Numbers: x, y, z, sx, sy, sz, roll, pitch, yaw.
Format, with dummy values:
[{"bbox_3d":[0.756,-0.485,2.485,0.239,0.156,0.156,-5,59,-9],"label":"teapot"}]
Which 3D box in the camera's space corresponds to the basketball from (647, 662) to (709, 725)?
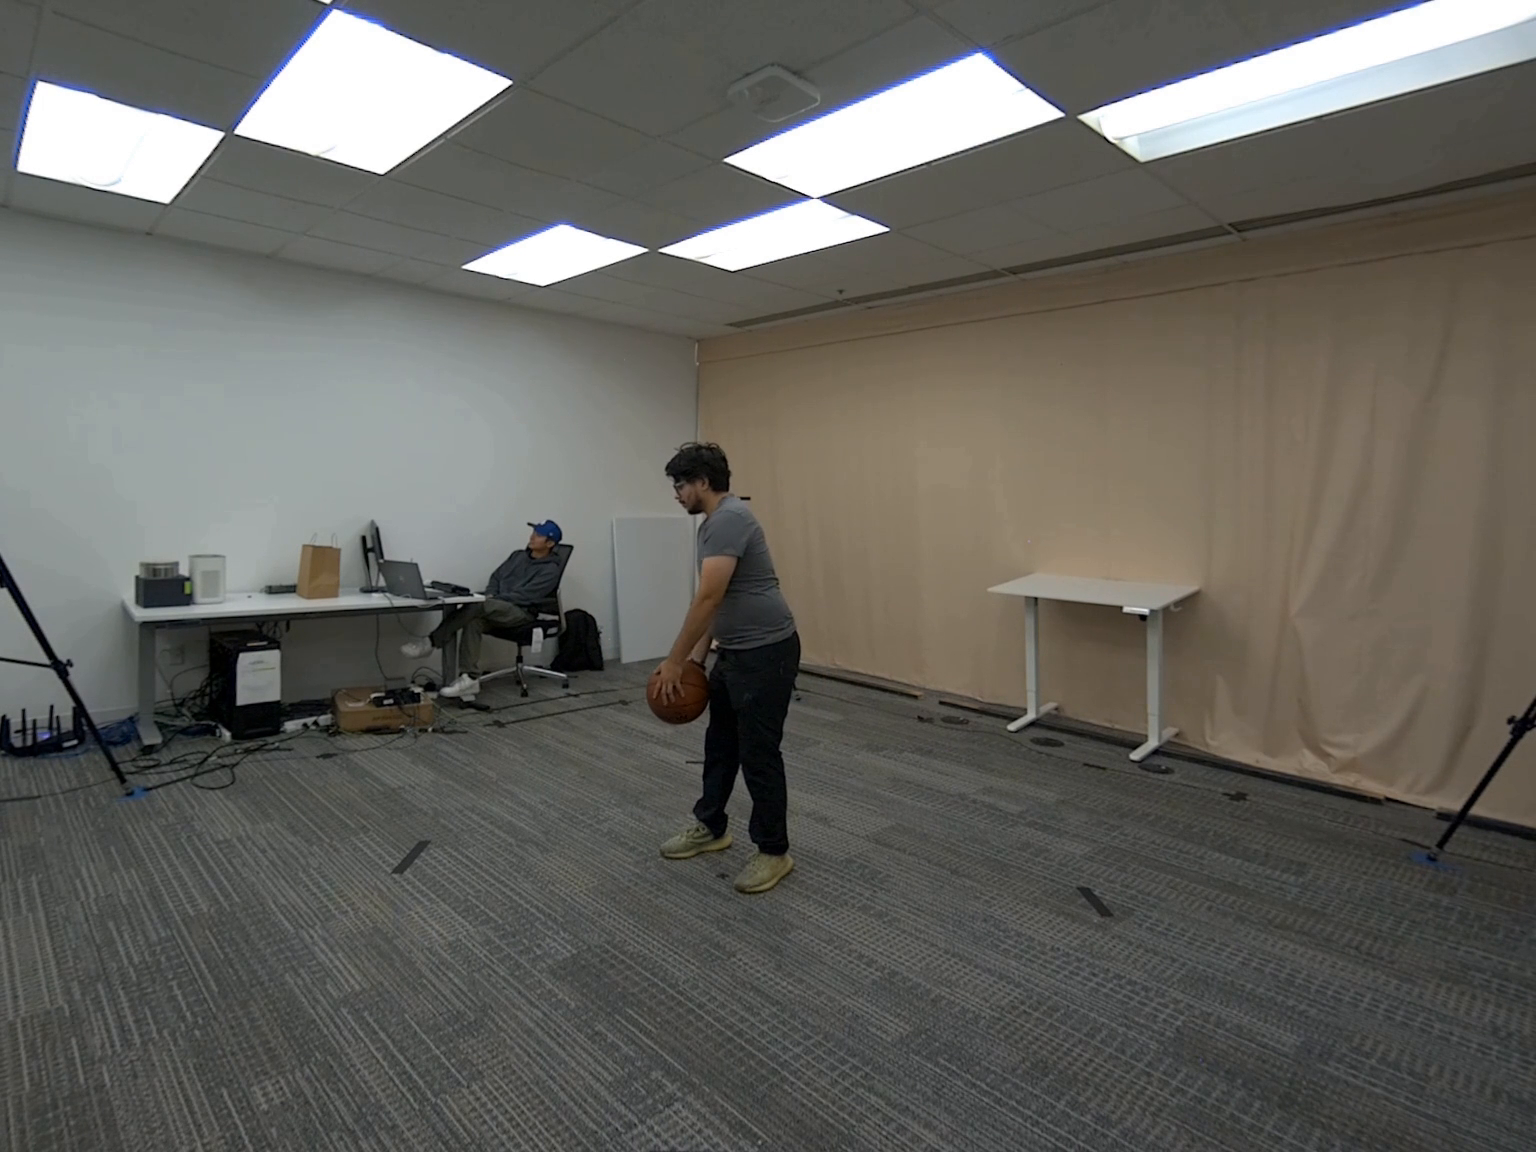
[{"bbox_3d":[-0.341,0.428,3.142,0.236,0.235,0.237,1,4,-1],"label":"basketball"}]
